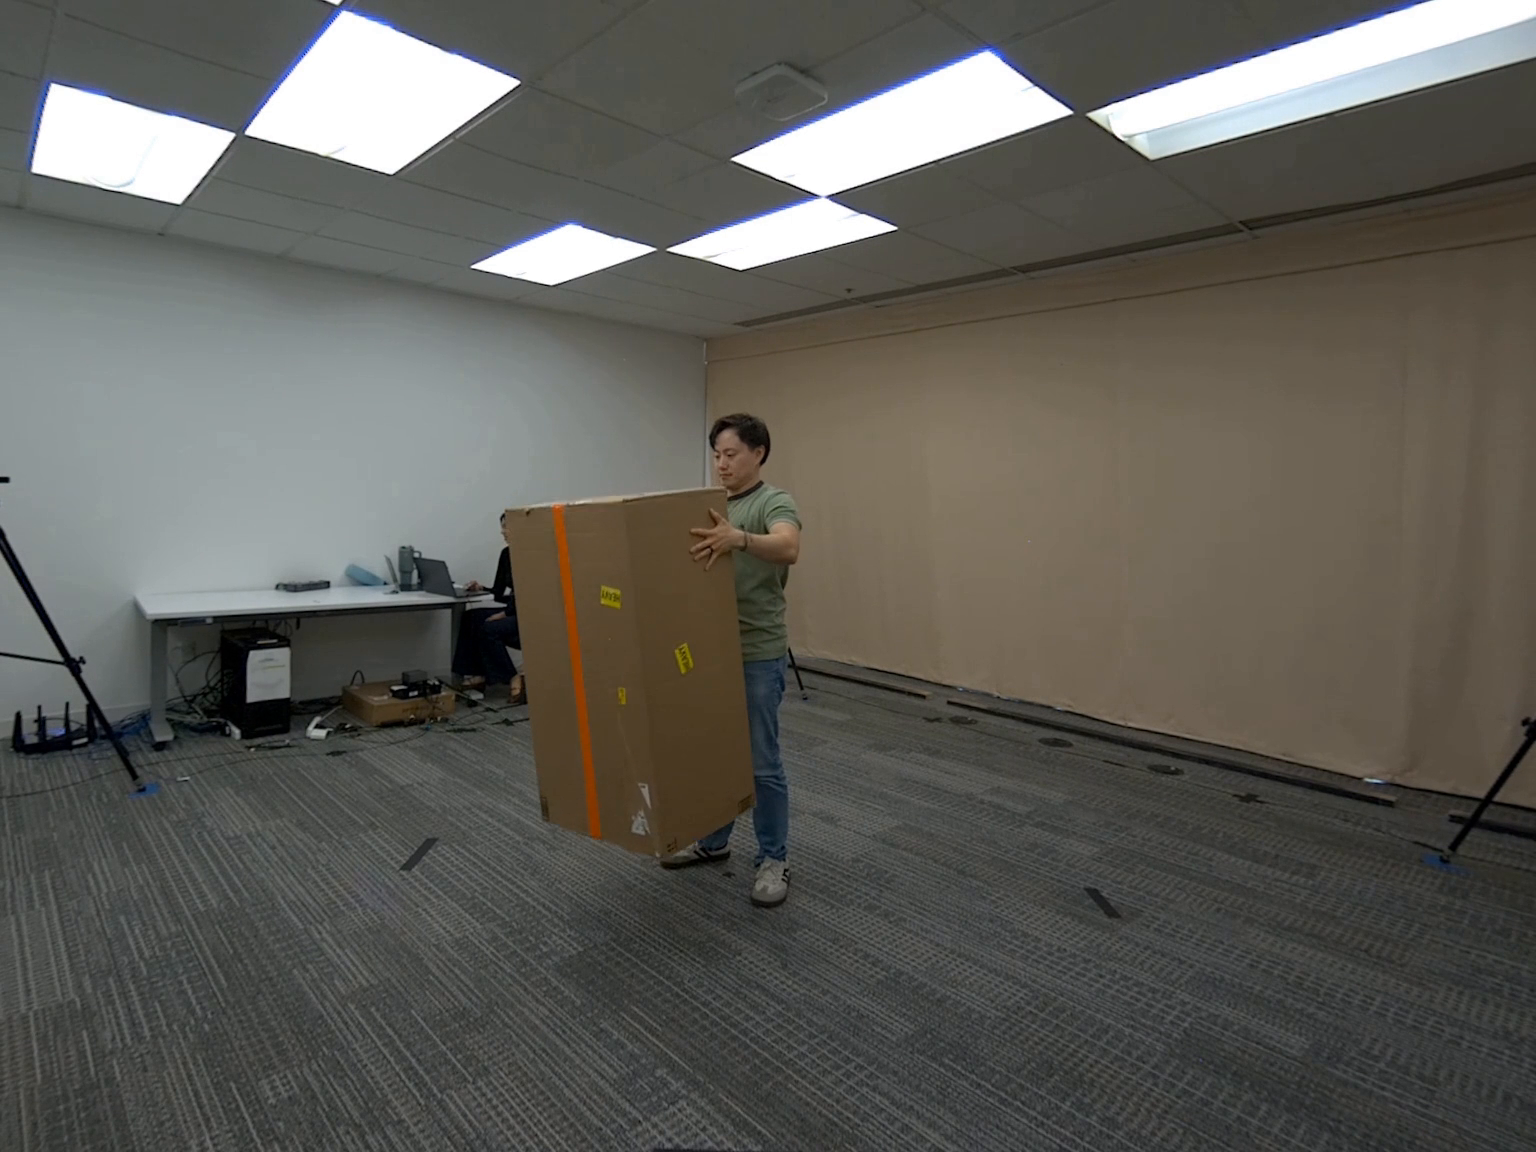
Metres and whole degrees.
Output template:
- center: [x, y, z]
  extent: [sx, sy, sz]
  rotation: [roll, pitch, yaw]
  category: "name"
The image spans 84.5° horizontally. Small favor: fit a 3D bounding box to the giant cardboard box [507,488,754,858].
- center: [-0.440, 0.267, 2.661]
  extent: [0.591, 1.021, 0.418]
  rotation: [0, 8, 40]
  category: "giant cardboard box"
